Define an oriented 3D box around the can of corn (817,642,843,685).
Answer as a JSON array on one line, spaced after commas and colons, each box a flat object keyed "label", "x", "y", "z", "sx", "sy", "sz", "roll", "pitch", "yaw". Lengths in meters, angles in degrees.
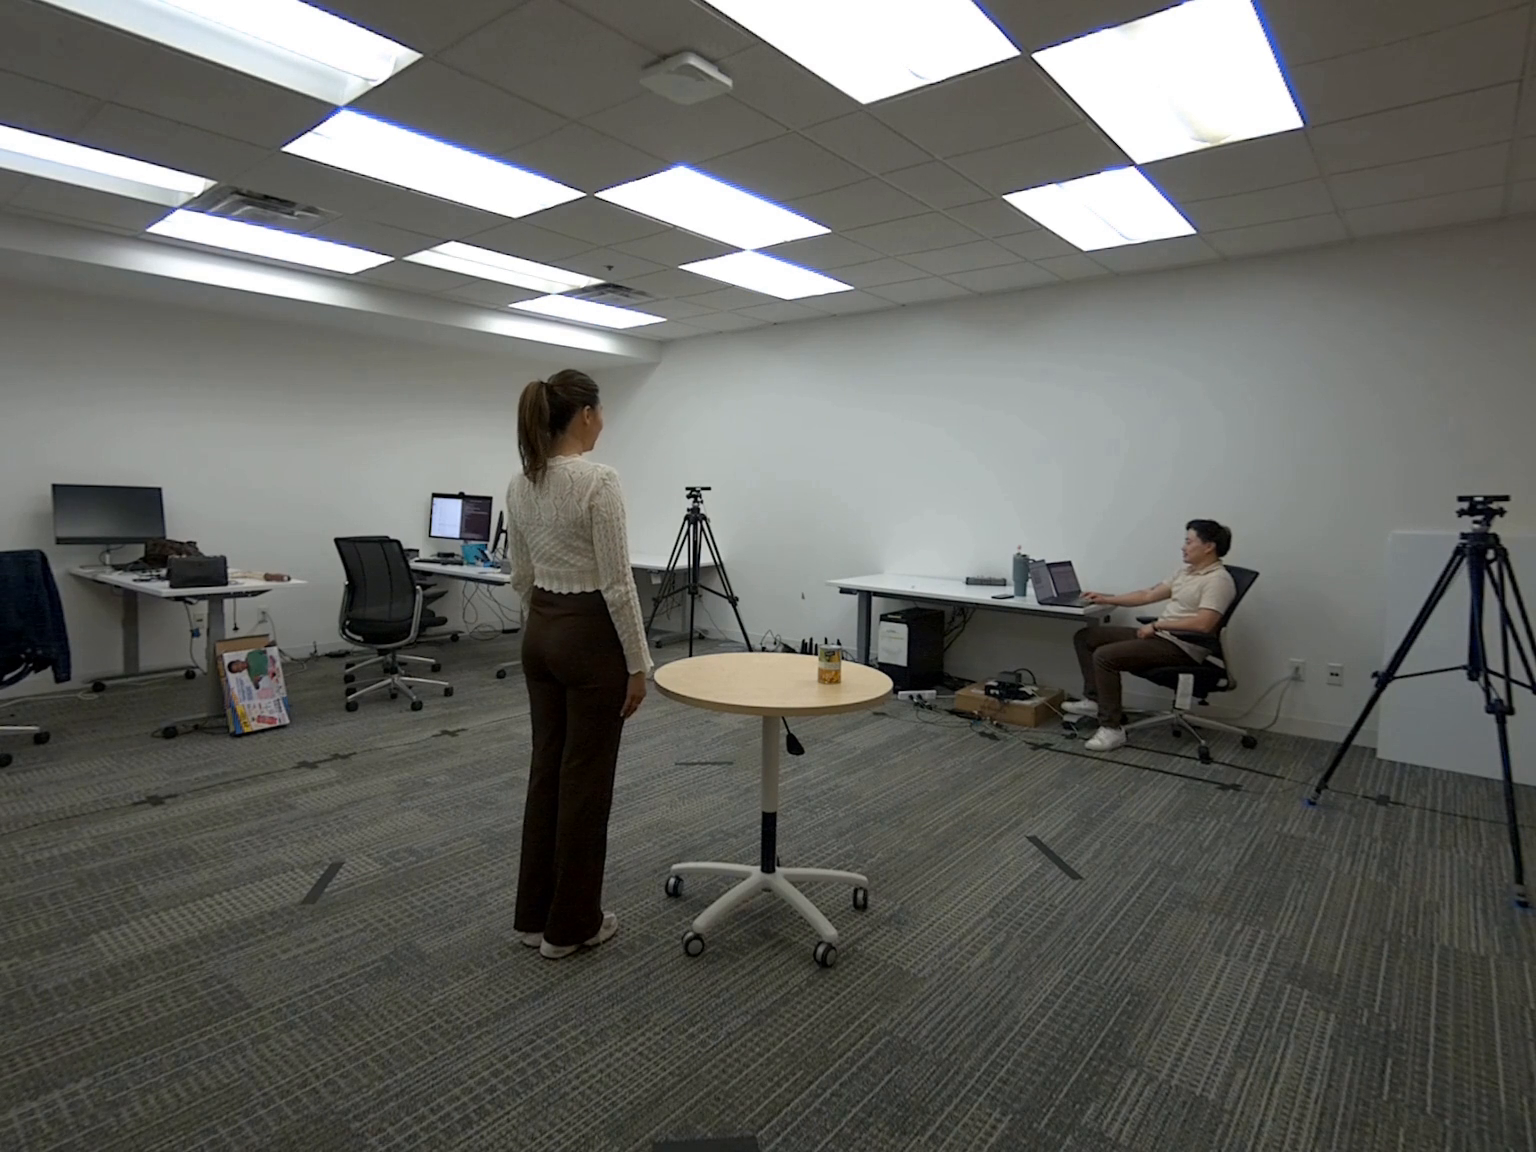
[{"label": "can of corn", "x": 0.189, "y": 0.279, "z": 2.685, "sx": 0.074, "sy": 0.110, "sz": 0.075, "roll": 2, "pitch": 6, "yaw": -2}]
